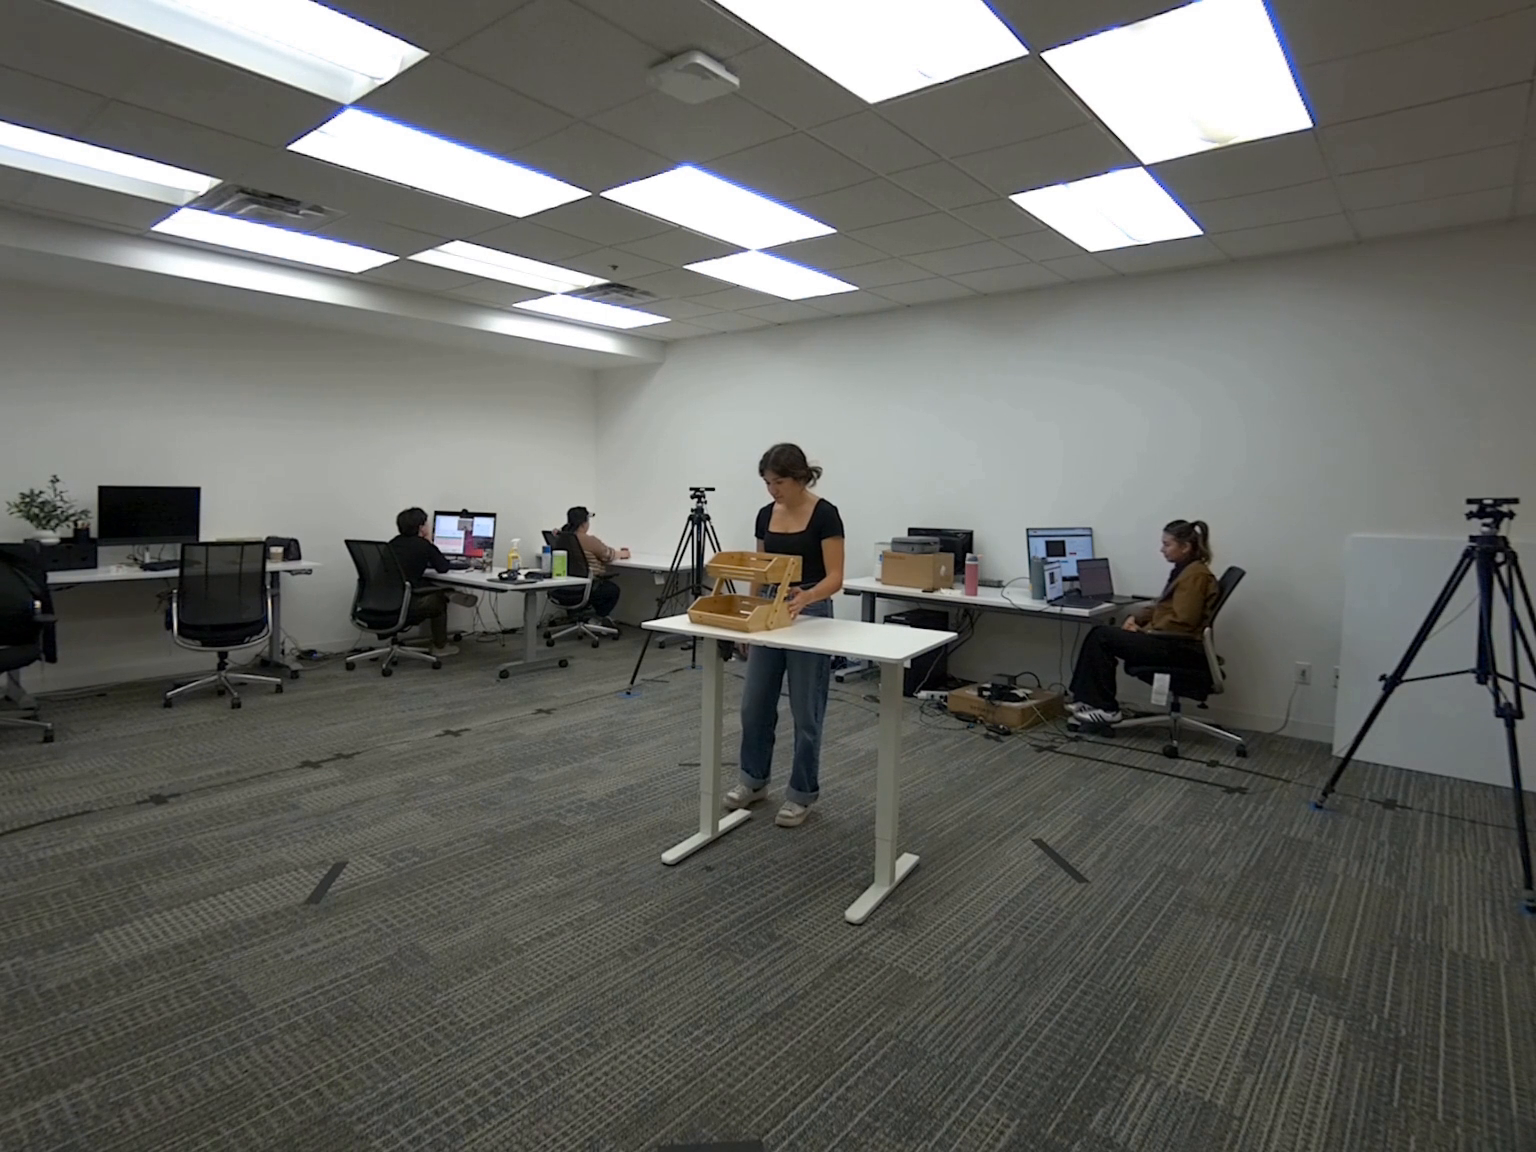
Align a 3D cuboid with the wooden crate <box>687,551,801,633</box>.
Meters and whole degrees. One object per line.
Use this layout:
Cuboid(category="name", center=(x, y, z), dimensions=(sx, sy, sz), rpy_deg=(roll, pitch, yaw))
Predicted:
Cuboid(category="wooden crate", center=(-0.097, 0.044, 3.184), dimensions=(0.336, 0.272, 0.293), rpy_deg=(6, 5, 41))
